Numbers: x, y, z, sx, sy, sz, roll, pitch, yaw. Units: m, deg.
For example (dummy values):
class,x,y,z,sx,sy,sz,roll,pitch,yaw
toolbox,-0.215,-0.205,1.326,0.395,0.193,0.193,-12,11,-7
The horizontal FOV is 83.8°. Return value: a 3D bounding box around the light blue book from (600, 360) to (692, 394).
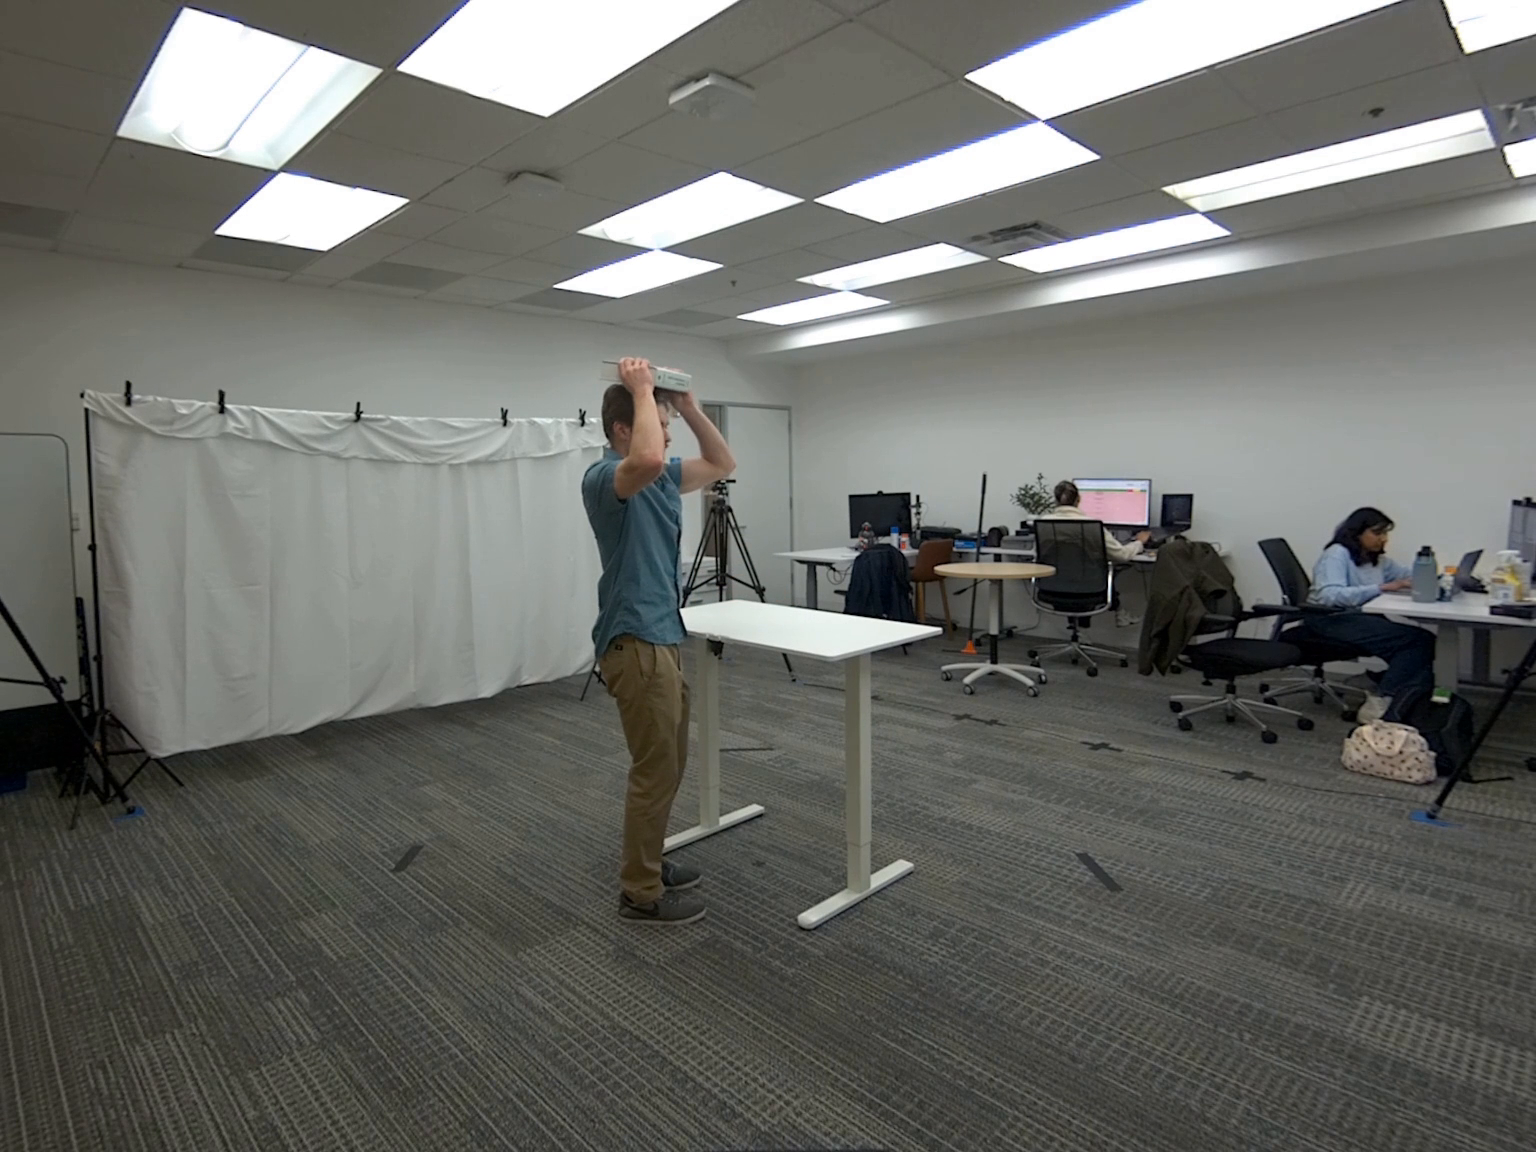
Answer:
class,x,y,z,sx,sy,sz,roll,pitch,yaw
light blue book,-0.375,-0.619,2.649,0.195,0.058,0.257,11,10,17
